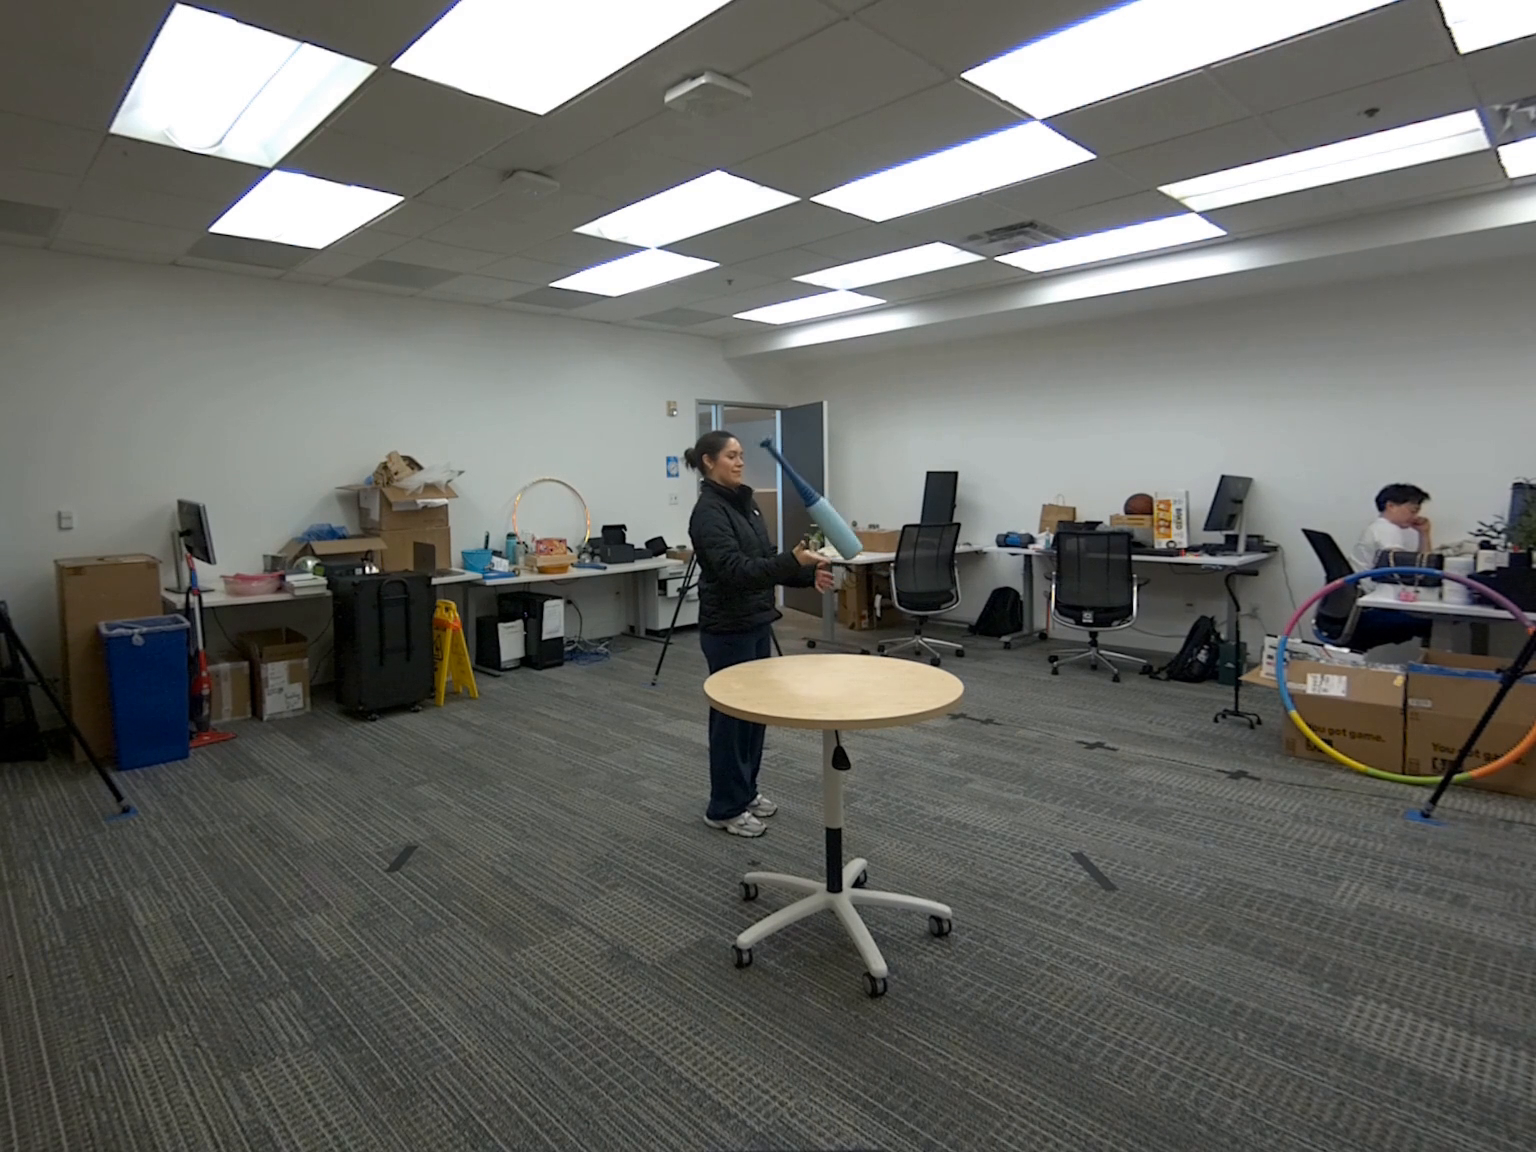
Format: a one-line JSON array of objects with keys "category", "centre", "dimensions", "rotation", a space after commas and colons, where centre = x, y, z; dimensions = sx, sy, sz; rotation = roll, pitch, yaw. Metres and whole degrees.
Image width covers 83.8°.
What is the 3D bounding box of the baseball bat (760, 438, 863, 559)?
[{"category": "baseball bat", "centre": [0.155, -0.257, 3.095], "dimensions": [0.089, 0.536, 0.090], "rotation": [-38, 10, 7]}]
